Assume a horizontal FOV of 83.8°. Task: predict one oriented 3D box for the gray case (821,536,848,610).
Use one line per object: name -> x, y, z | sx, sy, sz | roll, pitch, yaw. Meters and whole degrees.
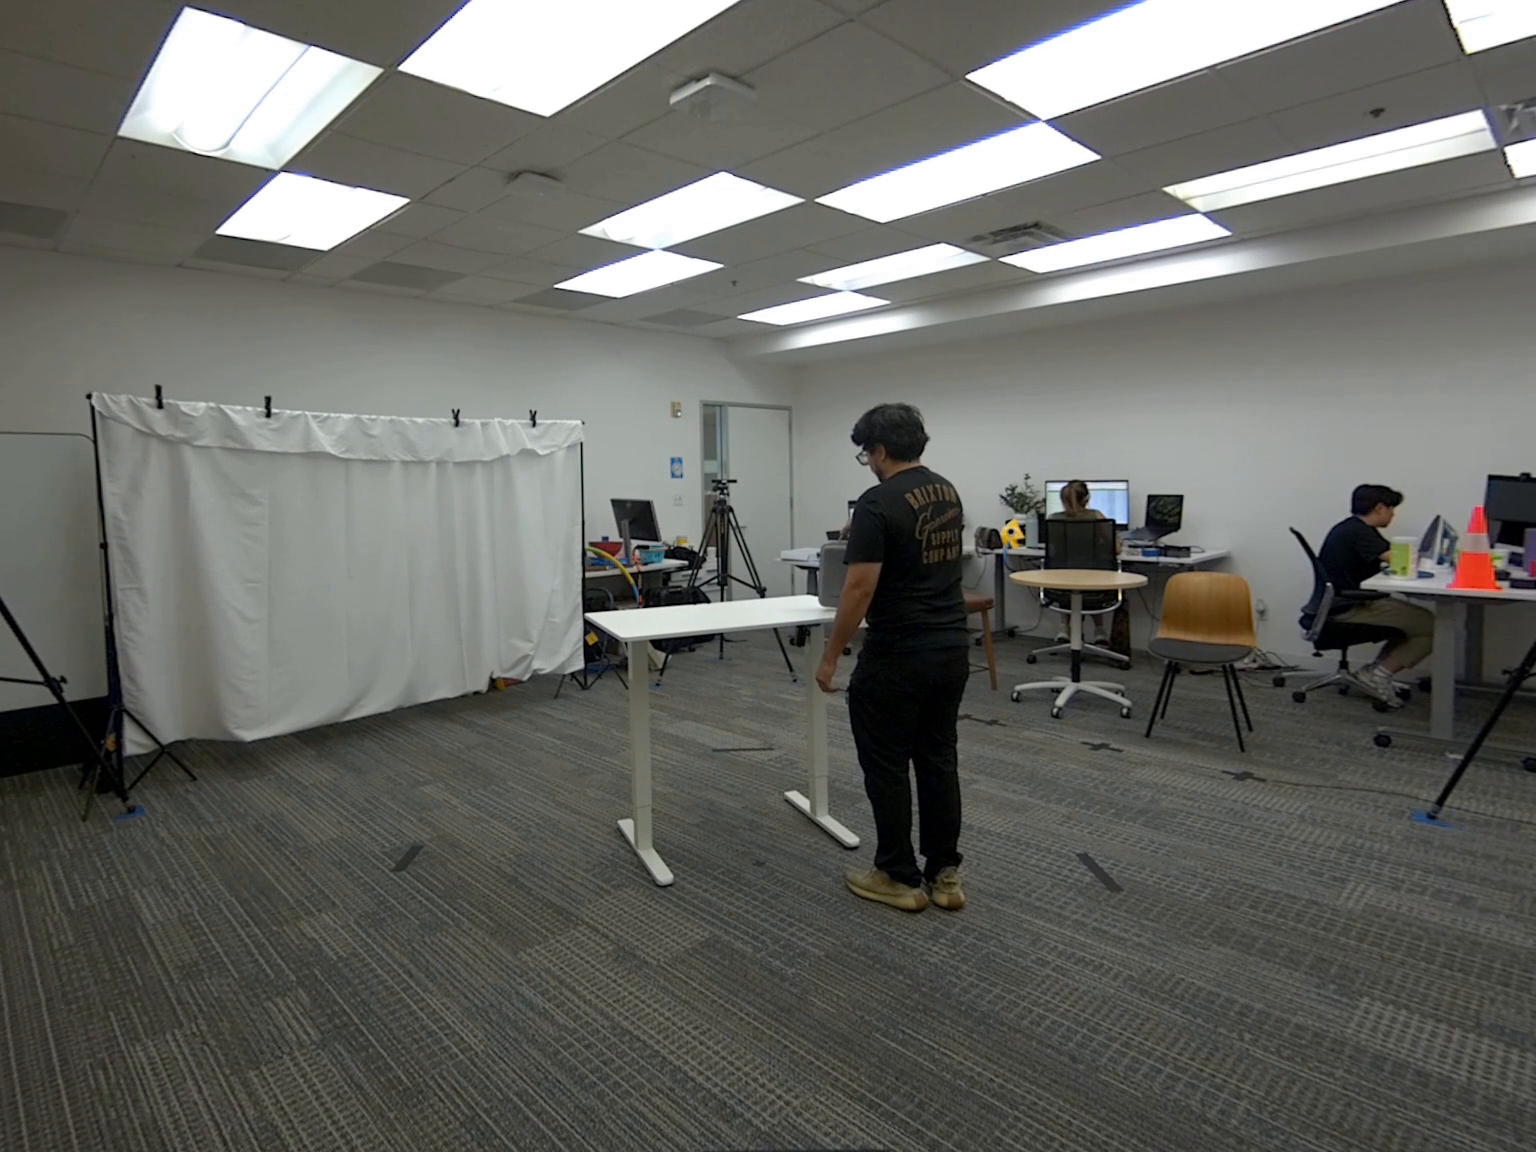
gray case -> 0.339, -0.007, 3.274 | 0.258, 0.257, 0.105 | 4, 14, 5
